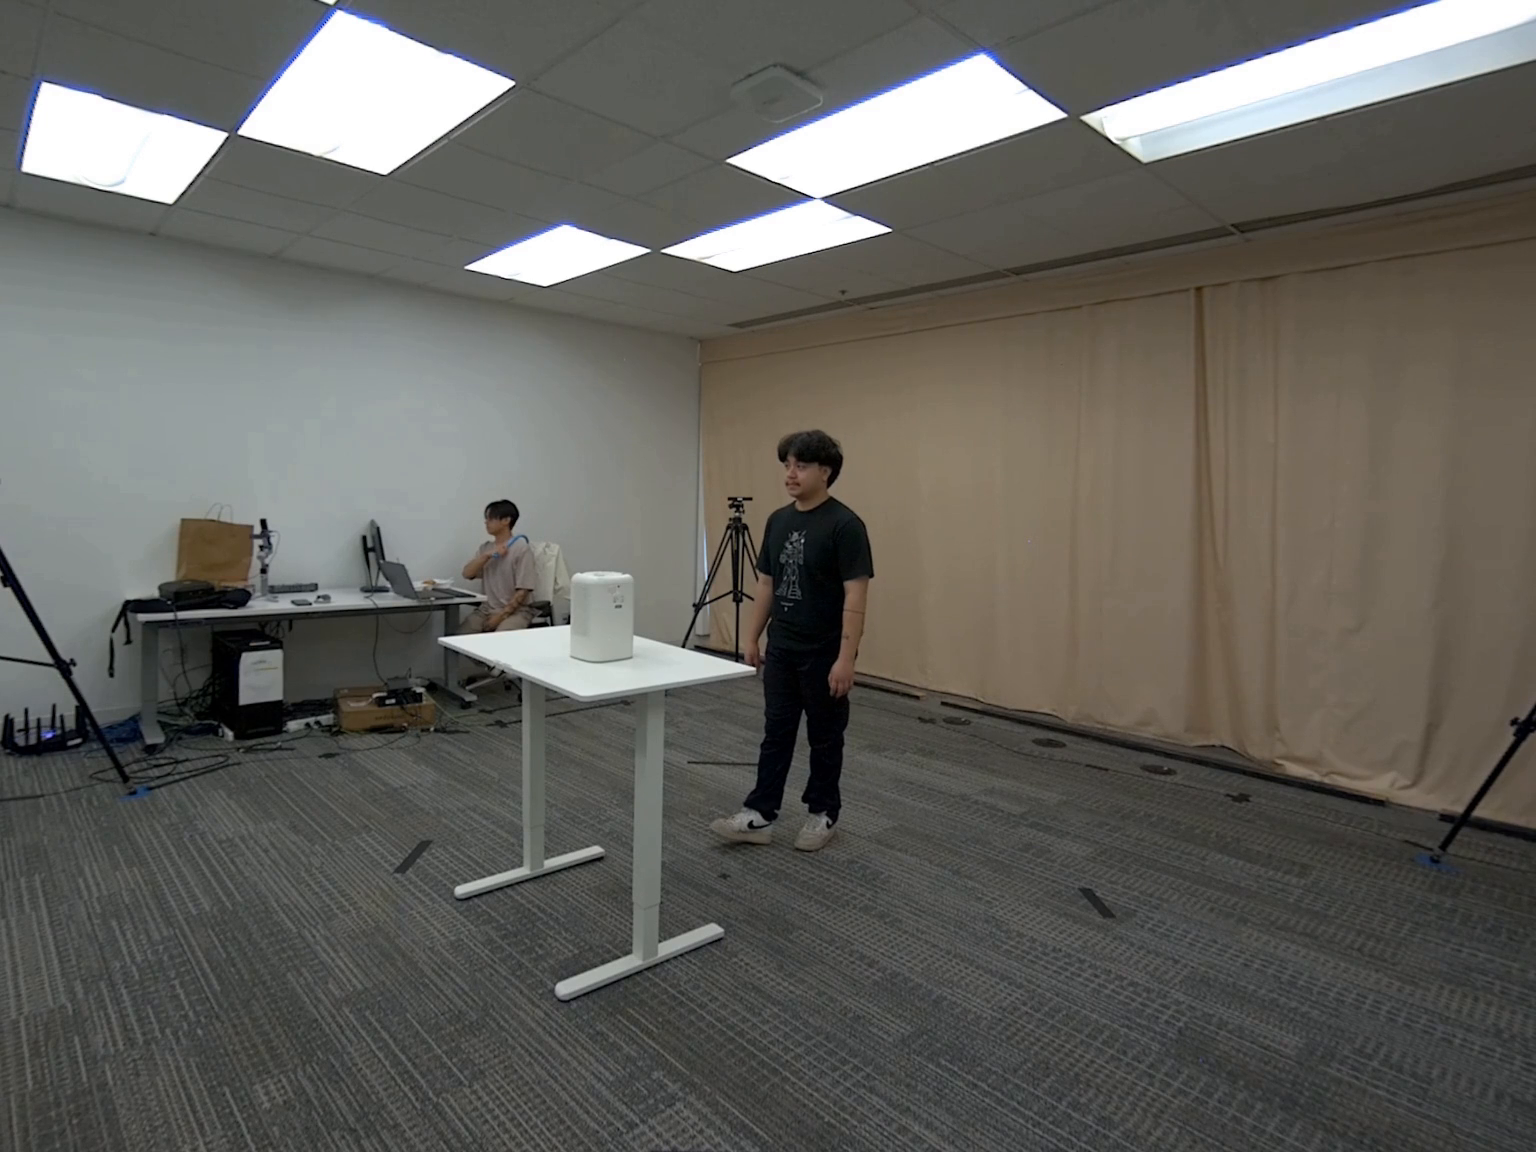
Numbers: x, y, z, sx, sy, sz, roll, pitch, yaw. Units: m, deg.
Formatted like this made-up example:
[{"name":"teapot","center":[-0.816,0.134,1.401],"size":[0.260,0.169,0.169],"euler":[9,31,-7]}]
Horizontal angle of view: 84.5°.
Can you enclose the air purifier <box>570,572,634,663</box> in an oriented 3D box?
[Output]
[{"name":"air purifier","center":[-0.533,0.124,2.652],"size":[0.176,0.264,0.167],"euler":[5,6,44]}]
